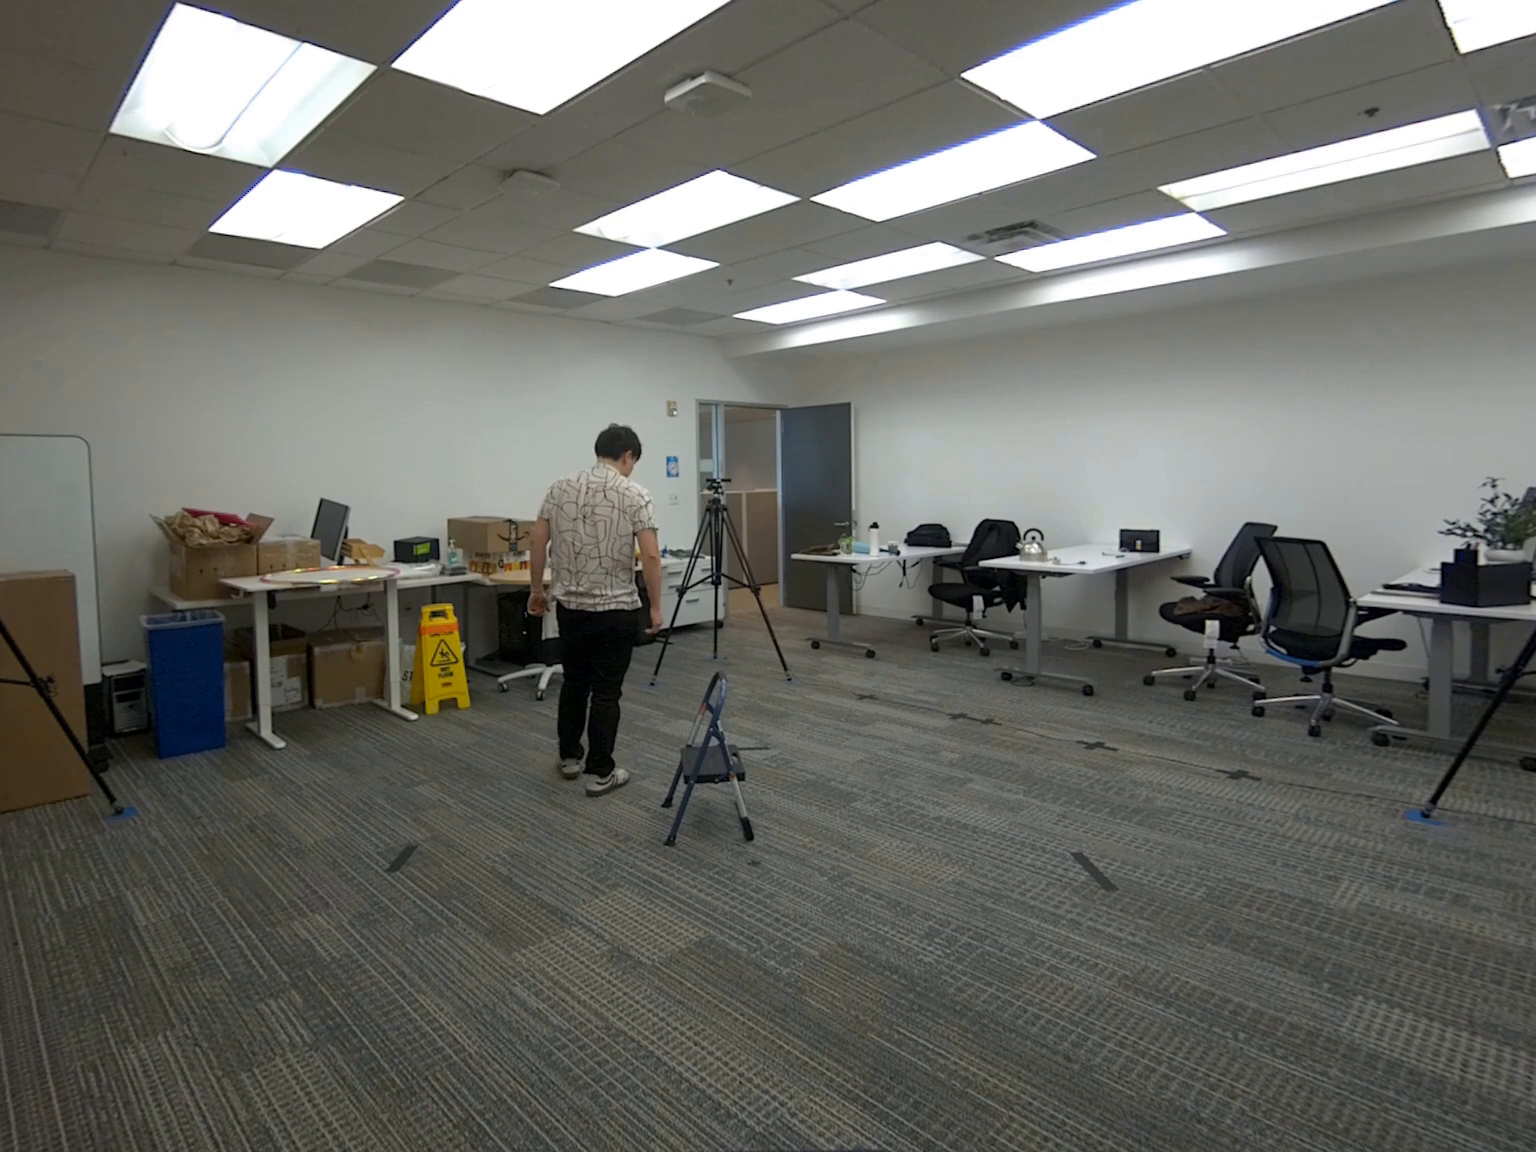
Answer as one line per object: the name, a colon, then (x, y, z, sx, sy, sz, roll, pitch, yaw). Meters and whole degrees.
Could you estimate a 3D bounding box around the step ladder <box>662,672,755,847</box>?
step ladder: (-0.253, 0.707, 3.465, 0.347, 0.604, 0.435, -2, 4, -8)
